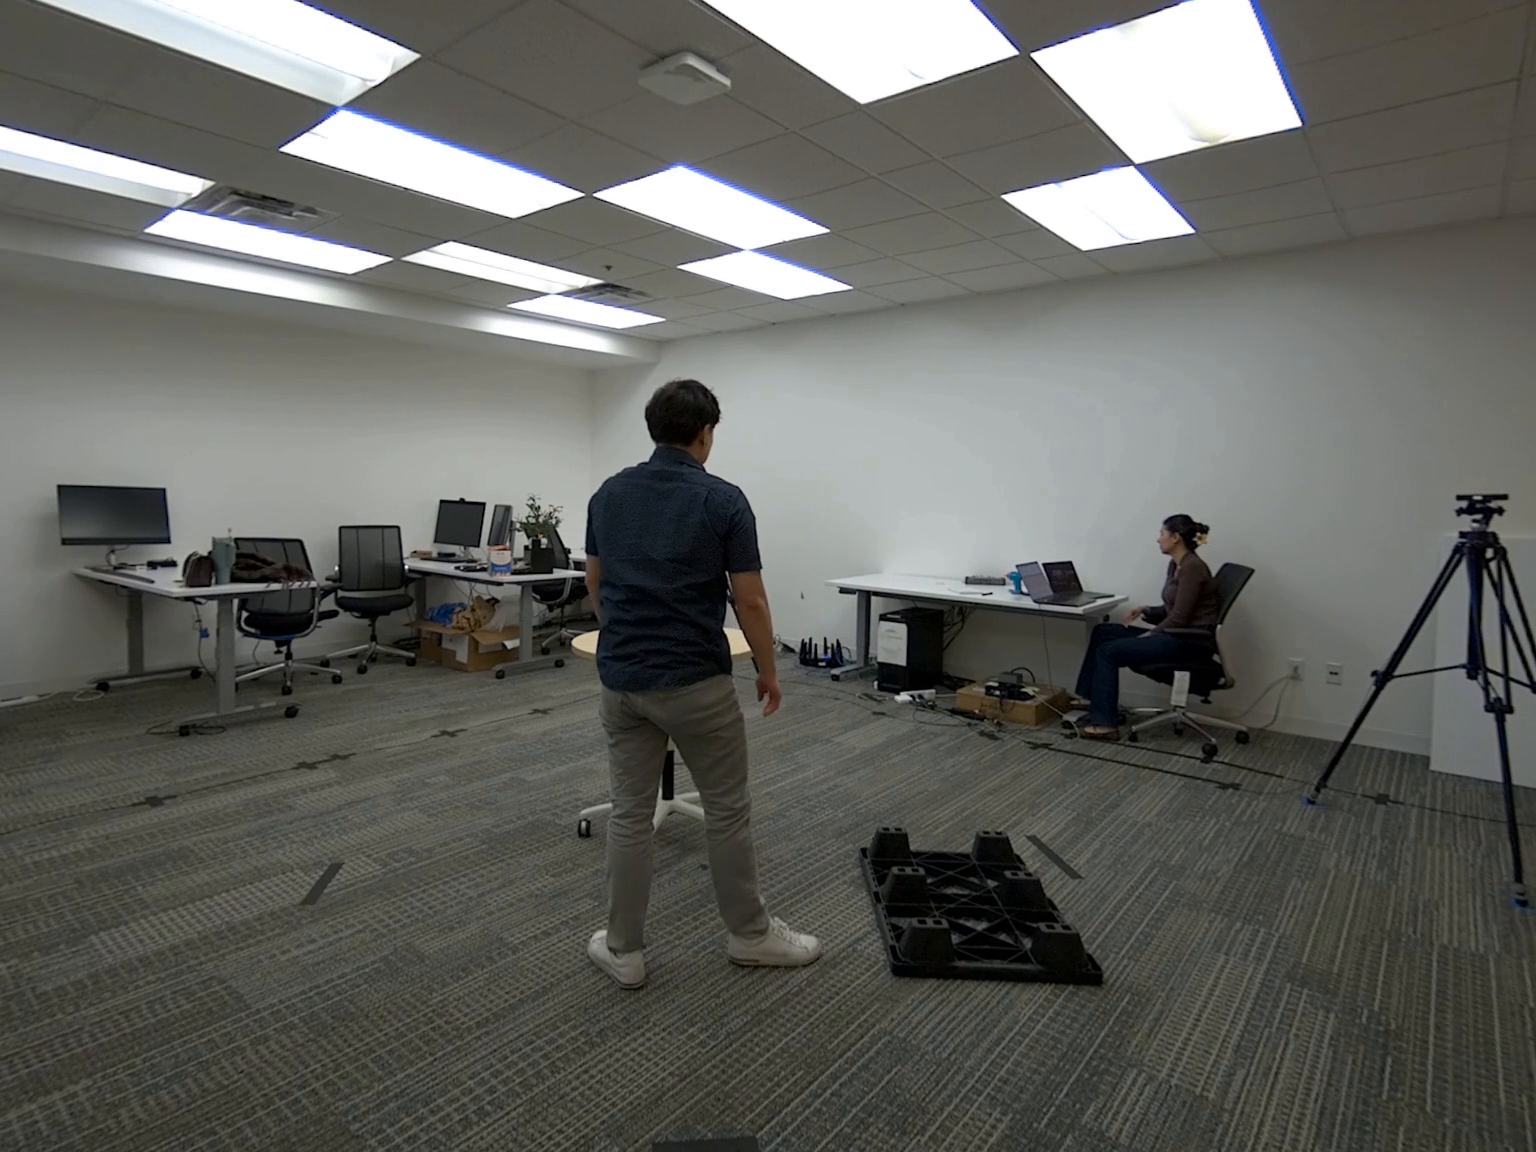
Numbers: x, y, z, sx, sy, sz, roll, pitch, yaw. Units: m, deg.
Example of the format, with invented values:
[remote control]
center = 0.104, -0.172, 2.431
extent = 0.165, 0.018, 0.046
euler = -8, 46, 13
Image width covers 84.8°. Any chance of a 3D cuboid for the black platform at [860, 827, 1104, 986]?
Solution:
[black platform]
center = 0.650, 1.043, 2.812
extent = 0.606, 0.143, 0.808
euler = 1, 6, 0
